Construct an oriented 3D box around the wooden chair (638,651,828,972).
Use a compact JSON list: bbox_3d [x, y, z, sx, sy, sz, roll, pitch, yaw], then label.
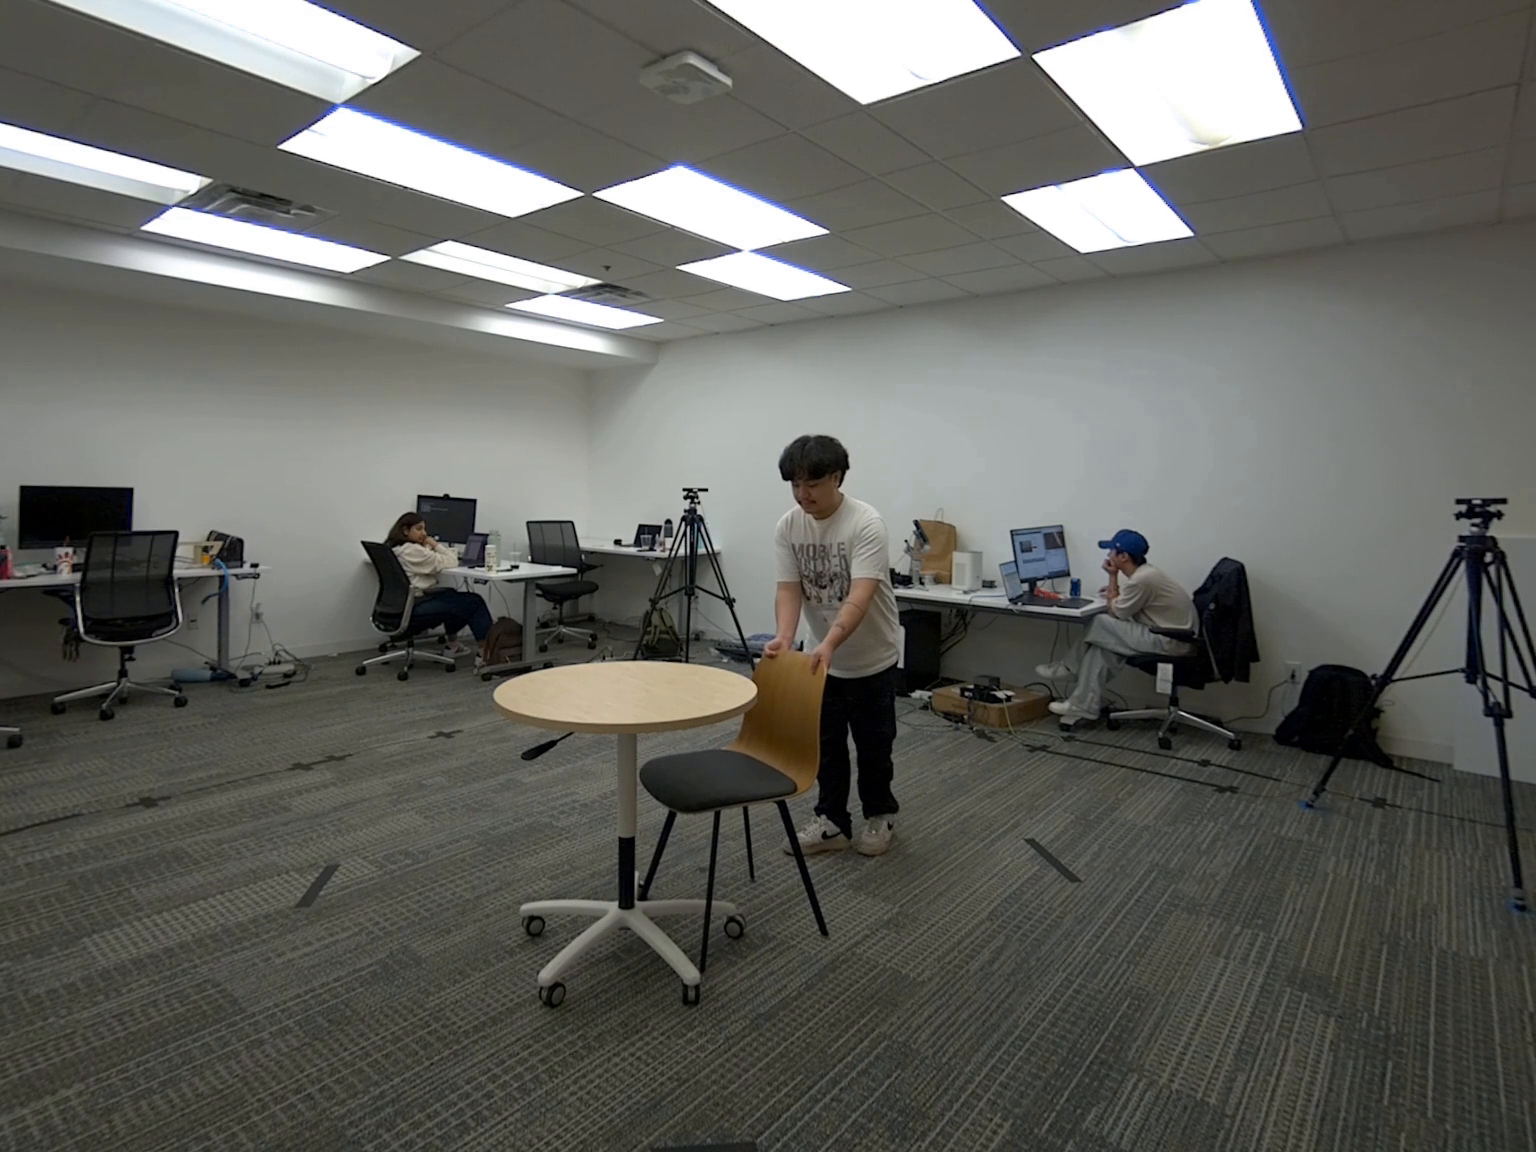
[{"bbox_3d":[-0.126,0.682,2.714,0.508,0.876,0.493,4,2,-31],"label":"wooden chair"}]
